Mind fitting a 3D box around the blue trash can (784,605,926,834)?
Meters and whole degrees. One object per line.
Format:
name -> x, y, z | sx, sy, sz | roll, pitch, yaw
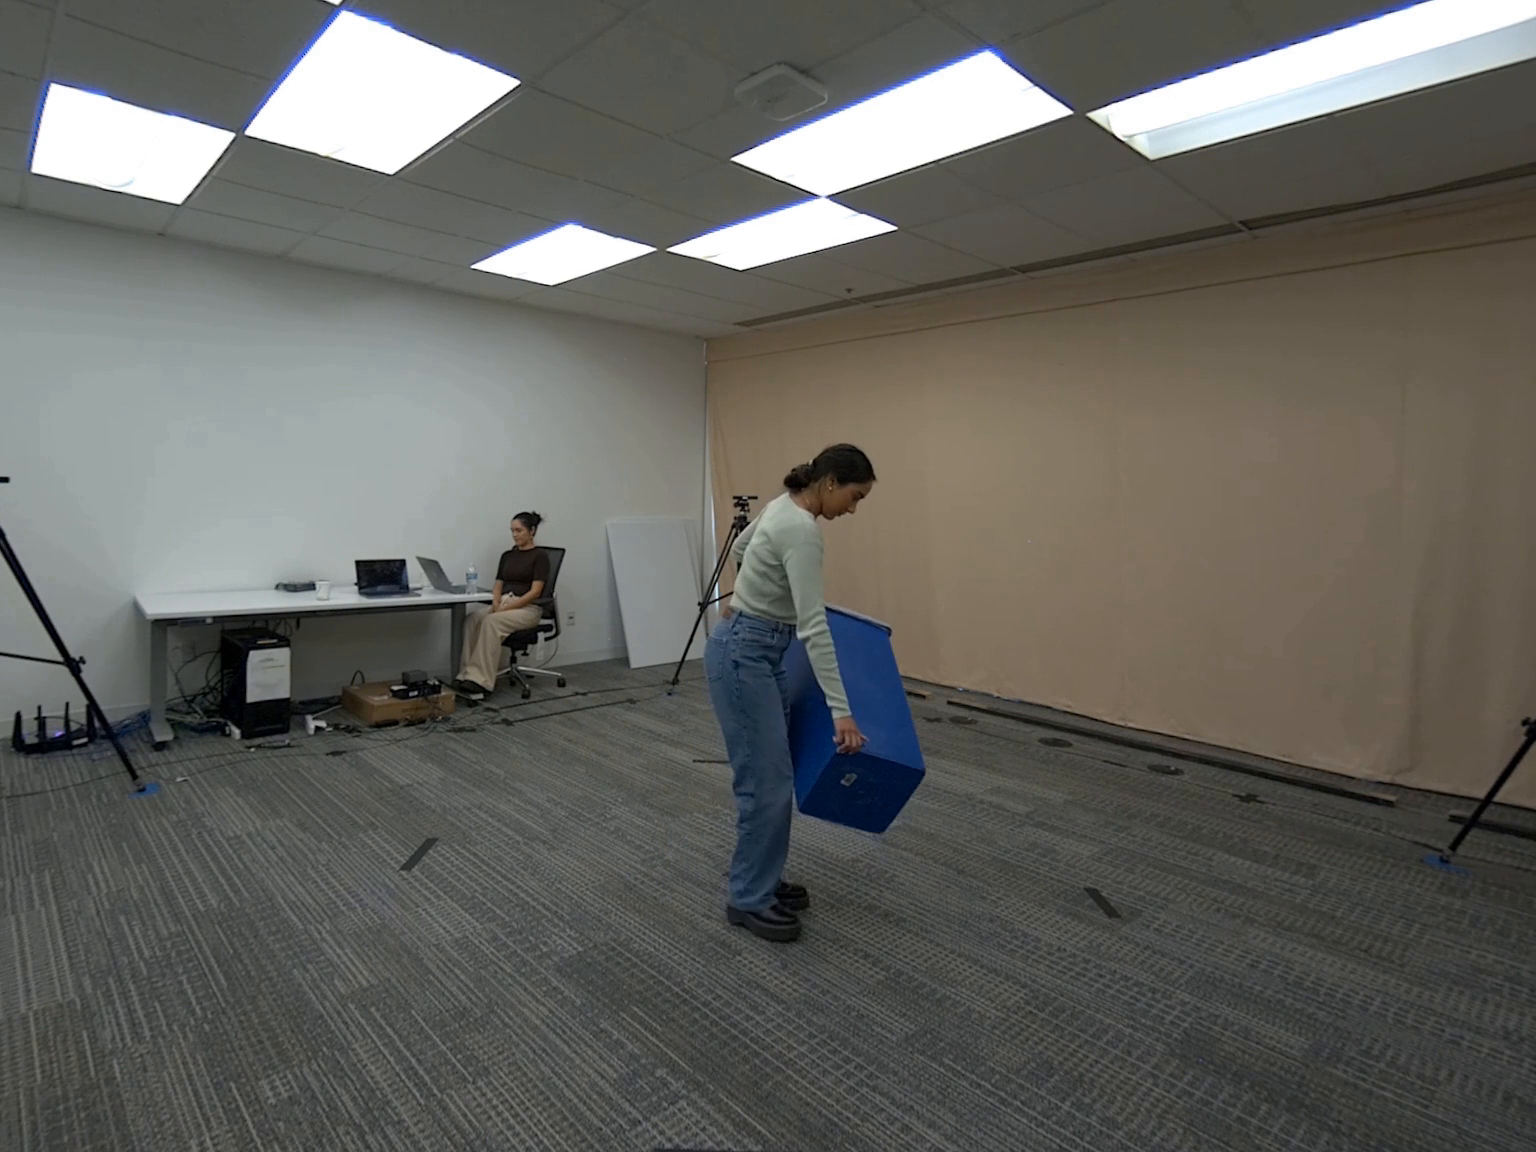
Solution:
blue trash can -> 0.256, 0.458, 2.871 | 0.369, 0.375, 0.729 | 17, 29, -14
